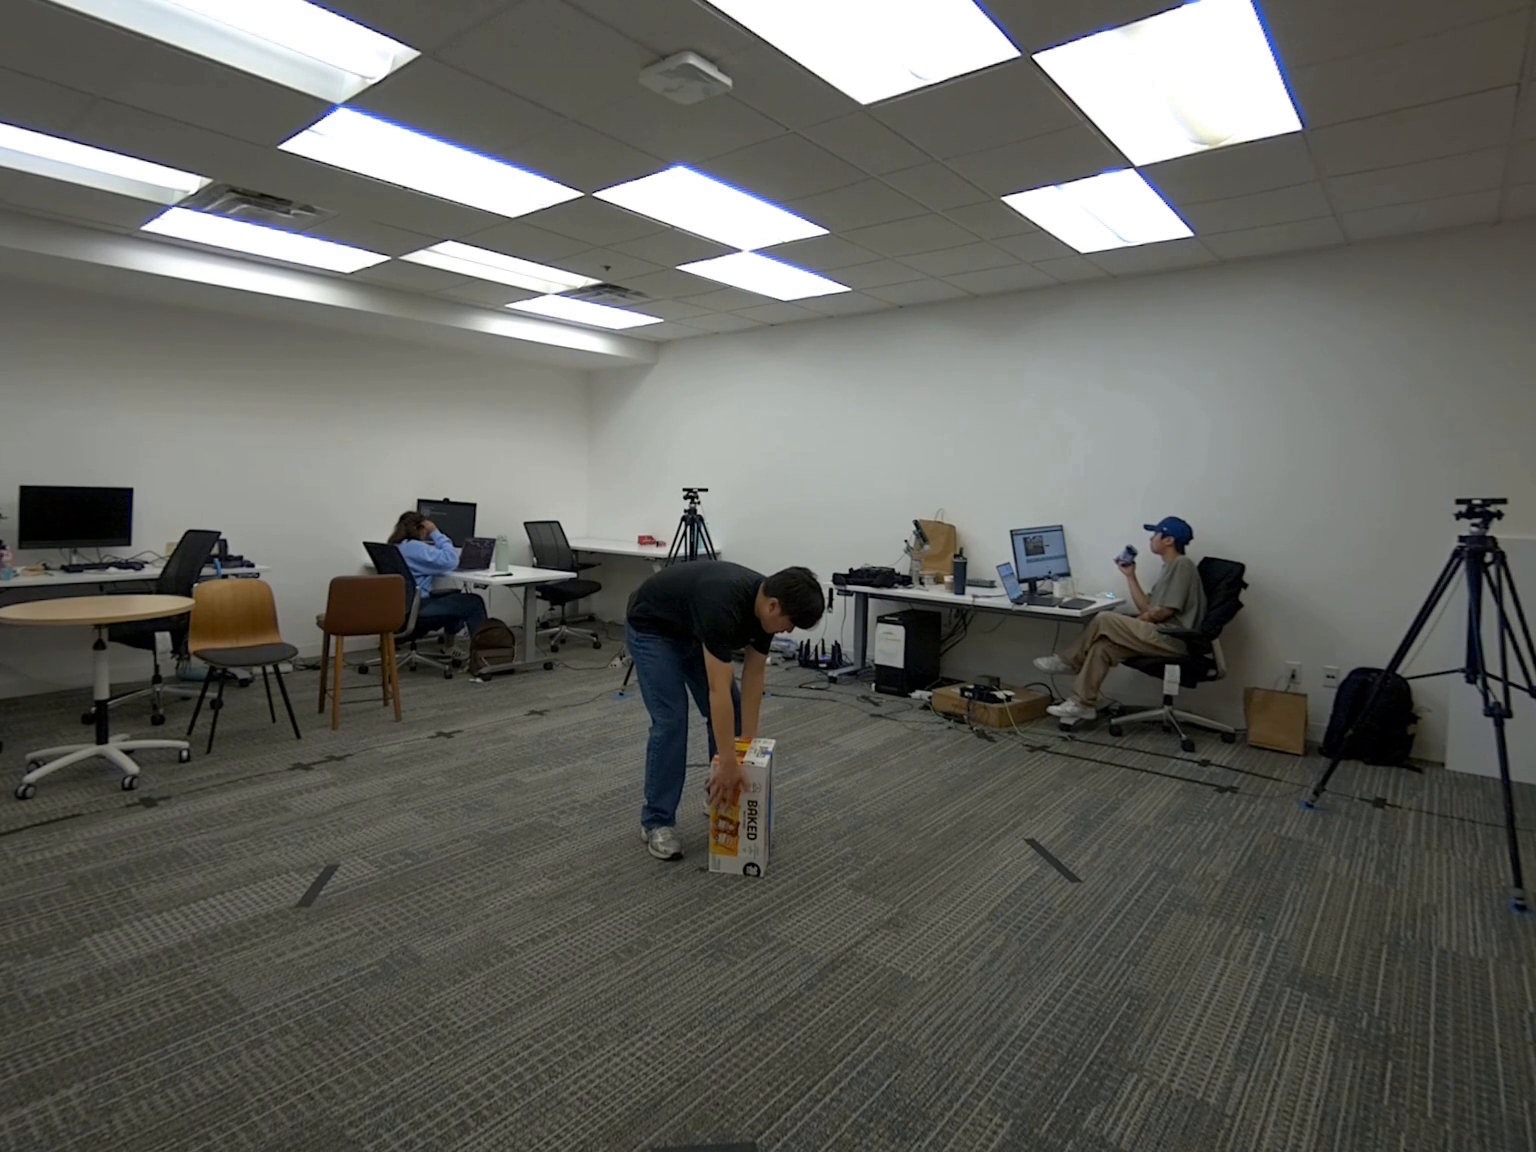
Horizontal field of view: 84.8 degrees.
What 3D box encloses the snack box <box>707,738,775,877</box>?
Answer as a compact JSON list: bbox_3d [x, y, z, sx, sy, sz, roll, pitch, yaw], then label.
[{"bbox_3d":[-0.096,0.856,3.223,0.208,0.404,0.338,2,4,7],"label":"snack box"}]
